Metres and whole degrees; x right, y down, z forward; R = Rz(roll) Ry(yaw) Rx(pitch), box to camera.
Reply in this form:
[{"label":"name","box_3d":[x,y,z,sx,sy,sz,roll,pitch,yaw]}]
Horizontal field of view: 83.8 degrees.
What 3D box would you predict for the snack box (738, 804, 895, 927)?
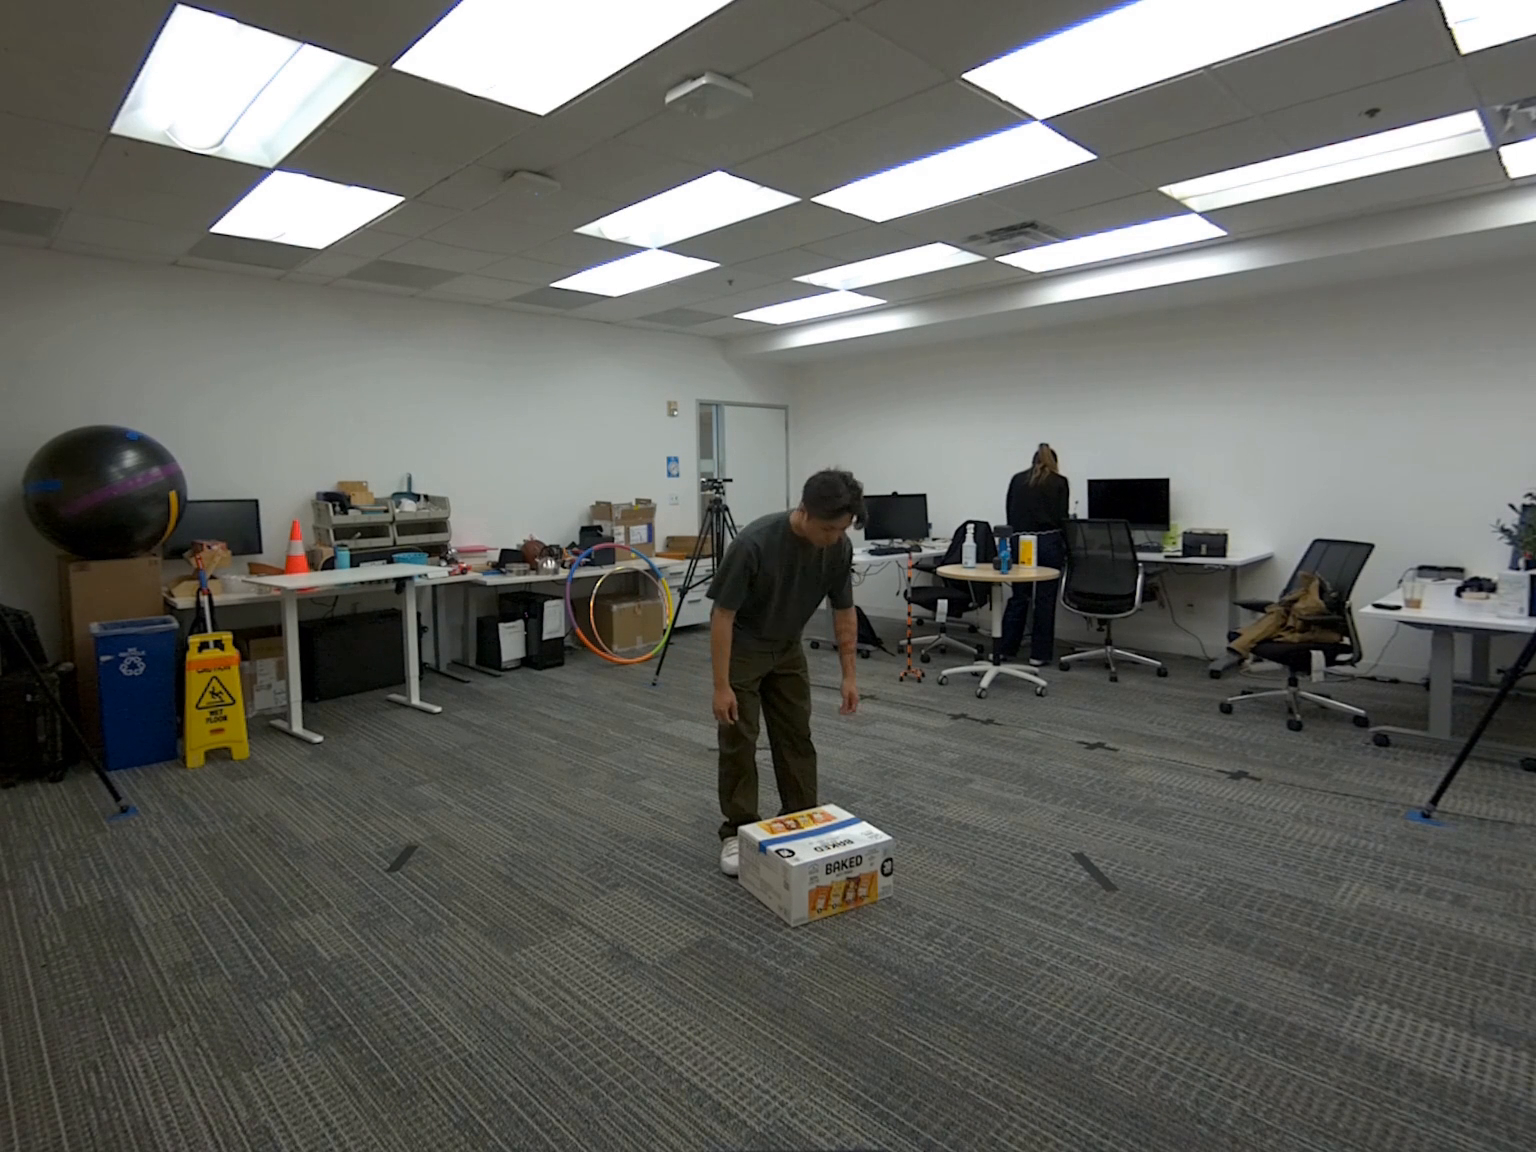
[{"label":"snack box","box_3d":[0.156,0.961,2.886,0.396,0.205,0.350,-5,7,-30]}]
